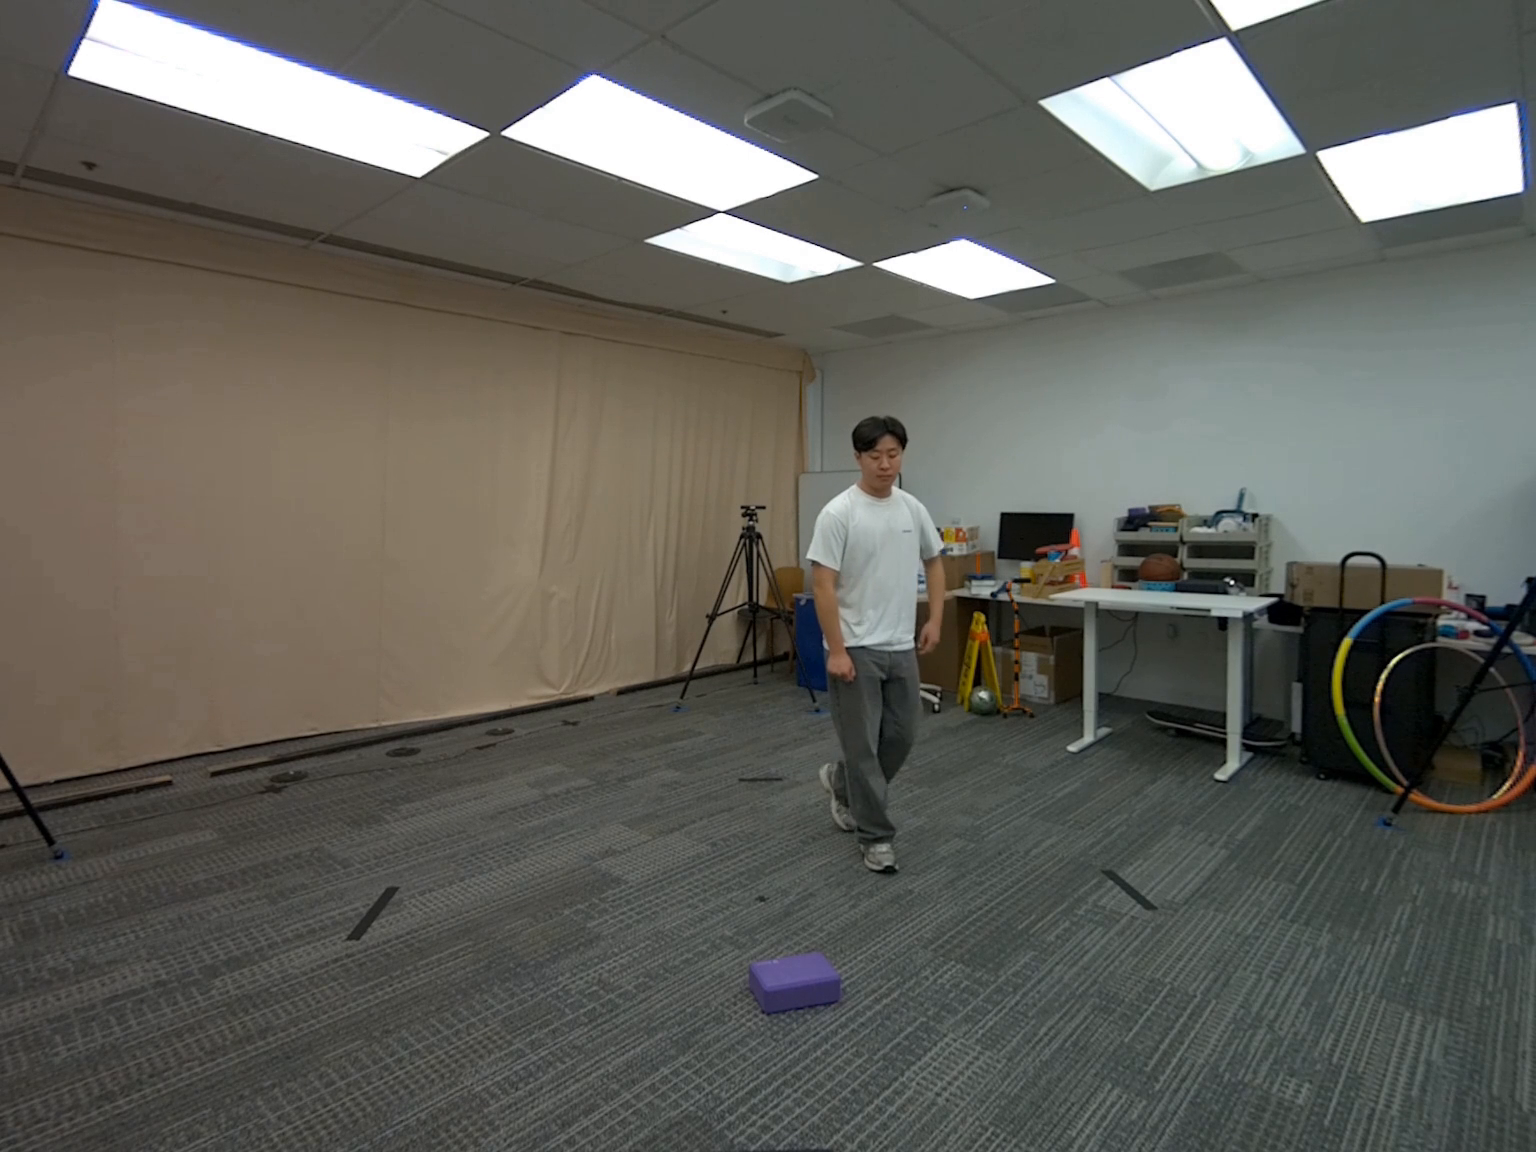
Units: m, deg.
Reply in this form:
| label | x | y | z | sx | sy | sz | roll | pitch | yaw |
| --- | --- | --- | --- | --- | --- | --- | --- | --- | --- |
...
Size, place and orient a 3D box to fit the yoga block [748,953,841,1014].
| label | x | y | z | sx | sy | sz | roll | pitch | yaw |
| --- | --- | --- | --- | --- | --- | --- | --- | --- | --- |
| yoga block | 0.084 | 1.154 | 2.391 | 0.225 | 0.076 | 0.152 | -1 | 4 | -17 |
